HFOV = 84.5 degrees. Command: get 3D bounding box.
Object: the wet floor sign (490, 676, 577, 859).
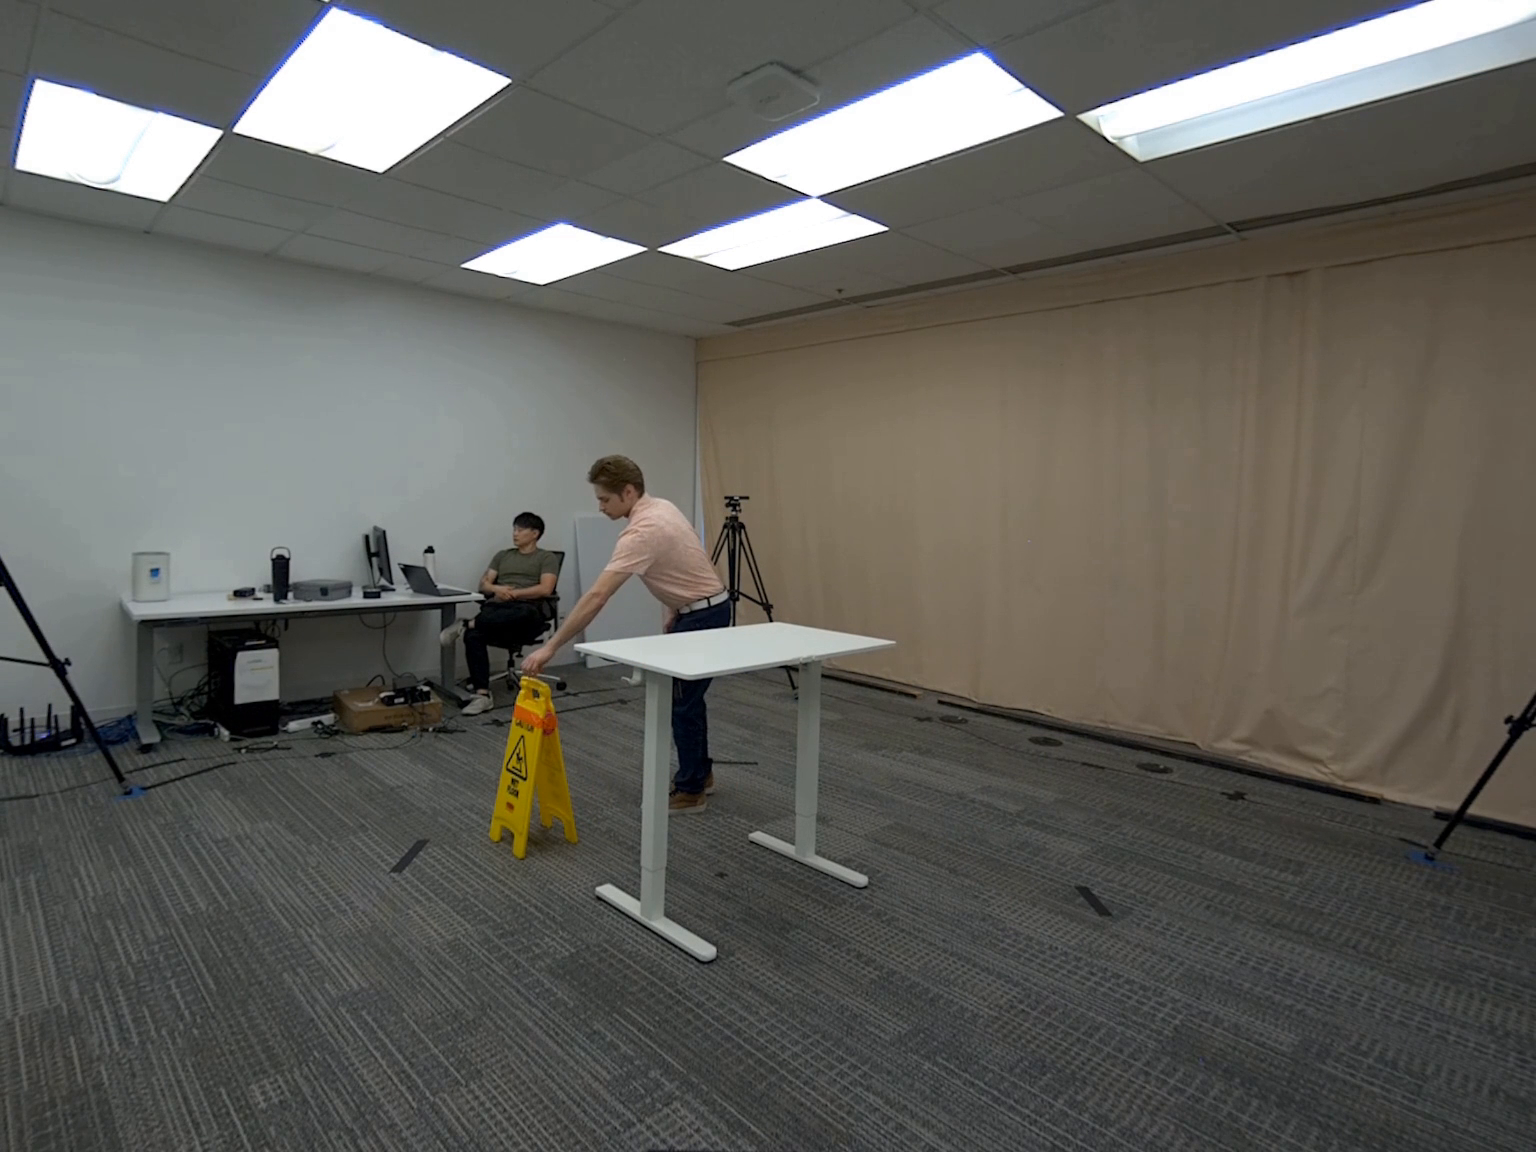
[{"bbox_3d":[-0.938,0.740,3.367,0.283,0.645,0.289,0,4,-44],"label":"wet floor sign"}]
